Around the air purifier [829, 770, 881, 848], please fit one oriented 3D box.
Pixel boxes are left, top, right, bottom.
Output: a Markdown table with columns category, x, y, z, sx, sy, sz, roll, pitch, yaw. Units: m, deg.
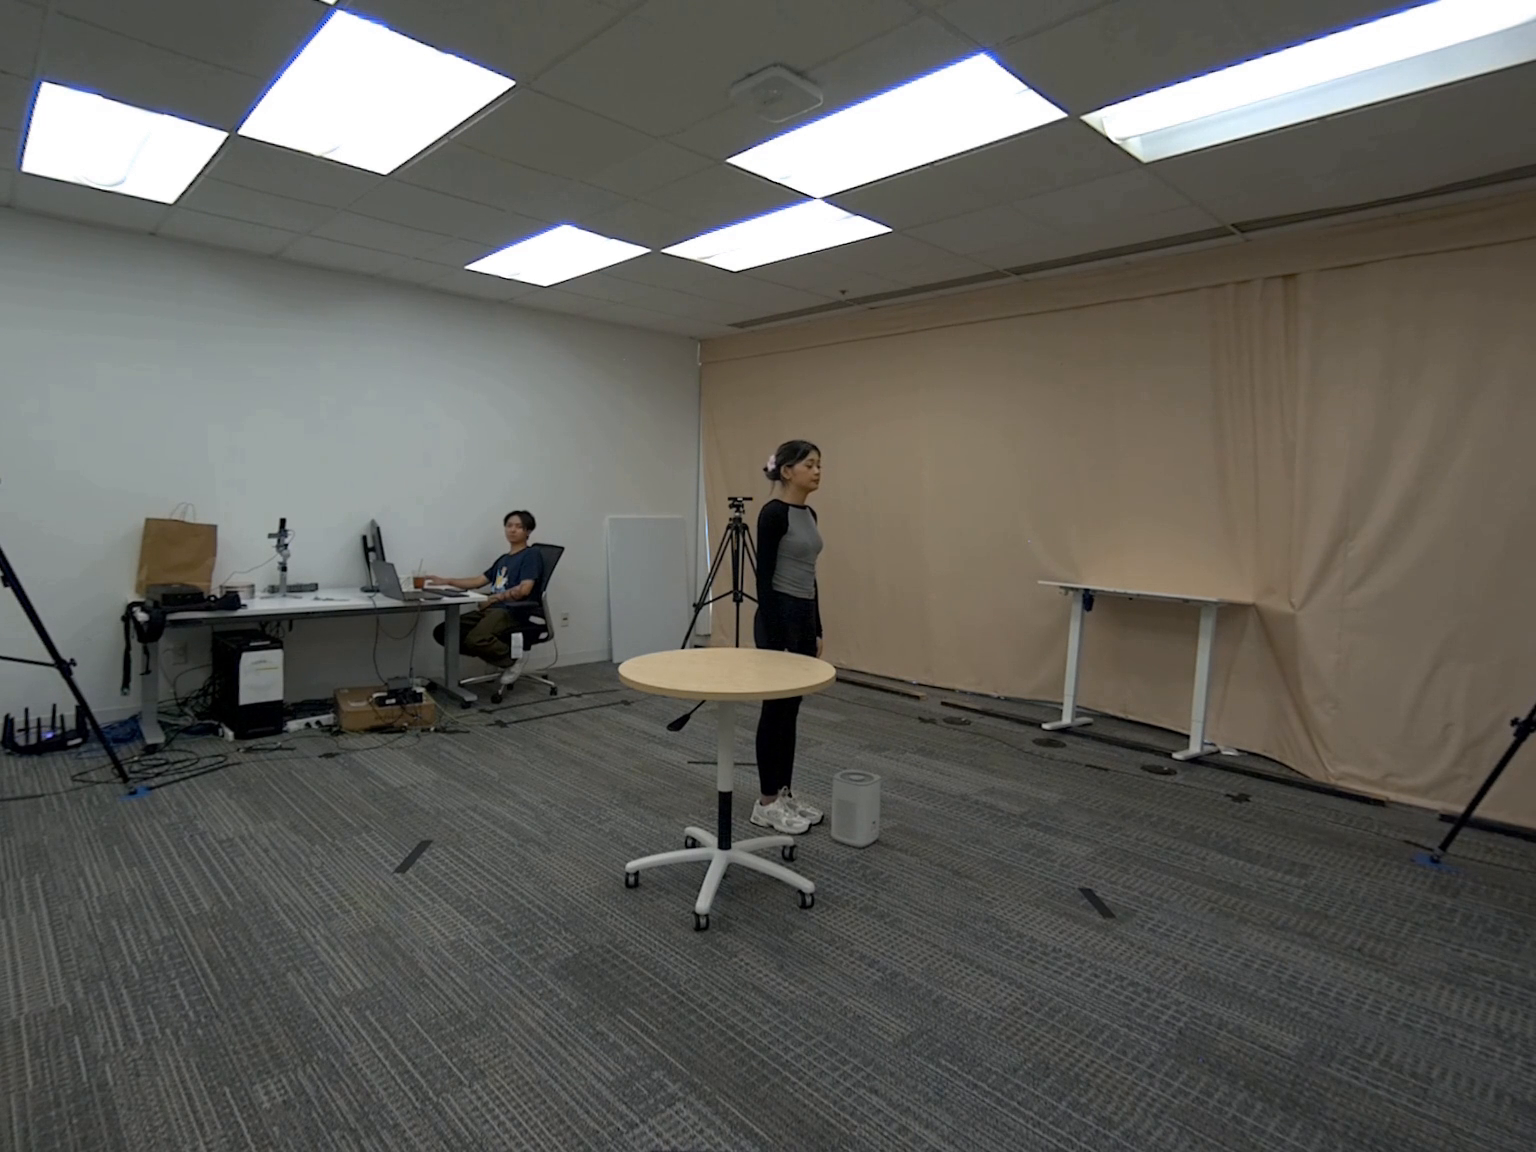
| category | x | y | z | sx | sy | sz | roll | pitch | yaw |
| --- | --- | --- | --- | --- | --- | --- | --- | --- | --- |
| air purifier | 0.352 | 0.954 | 3.466 | 0.176 | 0.265 | 0.167 | 4 | 4 | 36 |
